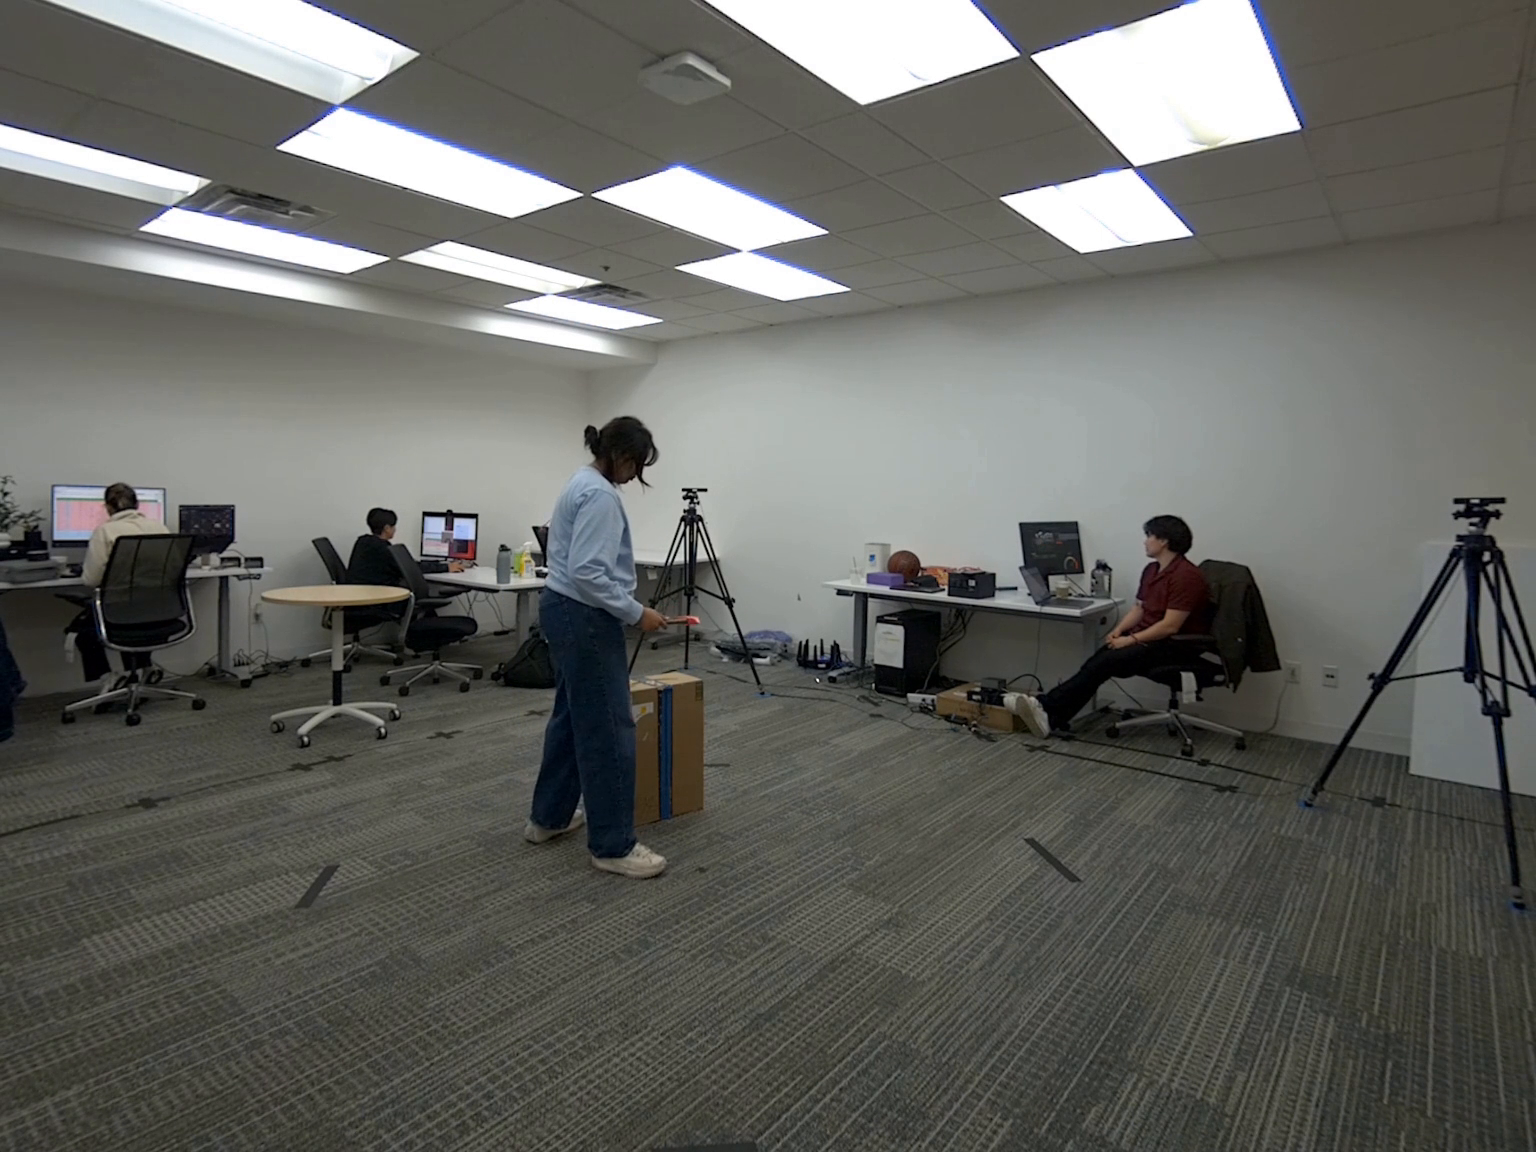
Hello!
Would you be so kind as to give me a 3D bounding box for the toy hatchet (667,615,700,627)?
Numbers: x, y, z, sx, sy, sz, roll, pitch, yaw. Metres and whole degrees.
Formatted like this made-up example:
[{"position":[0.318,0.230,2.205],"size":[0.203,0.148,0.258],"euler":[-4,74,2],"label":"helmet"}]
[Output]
[{"position":[-0.406,0.169,3.139],"size":[0.269,0.029,0.132],"euler":[-1,9,-4],"label":"toy hatchet"}]
